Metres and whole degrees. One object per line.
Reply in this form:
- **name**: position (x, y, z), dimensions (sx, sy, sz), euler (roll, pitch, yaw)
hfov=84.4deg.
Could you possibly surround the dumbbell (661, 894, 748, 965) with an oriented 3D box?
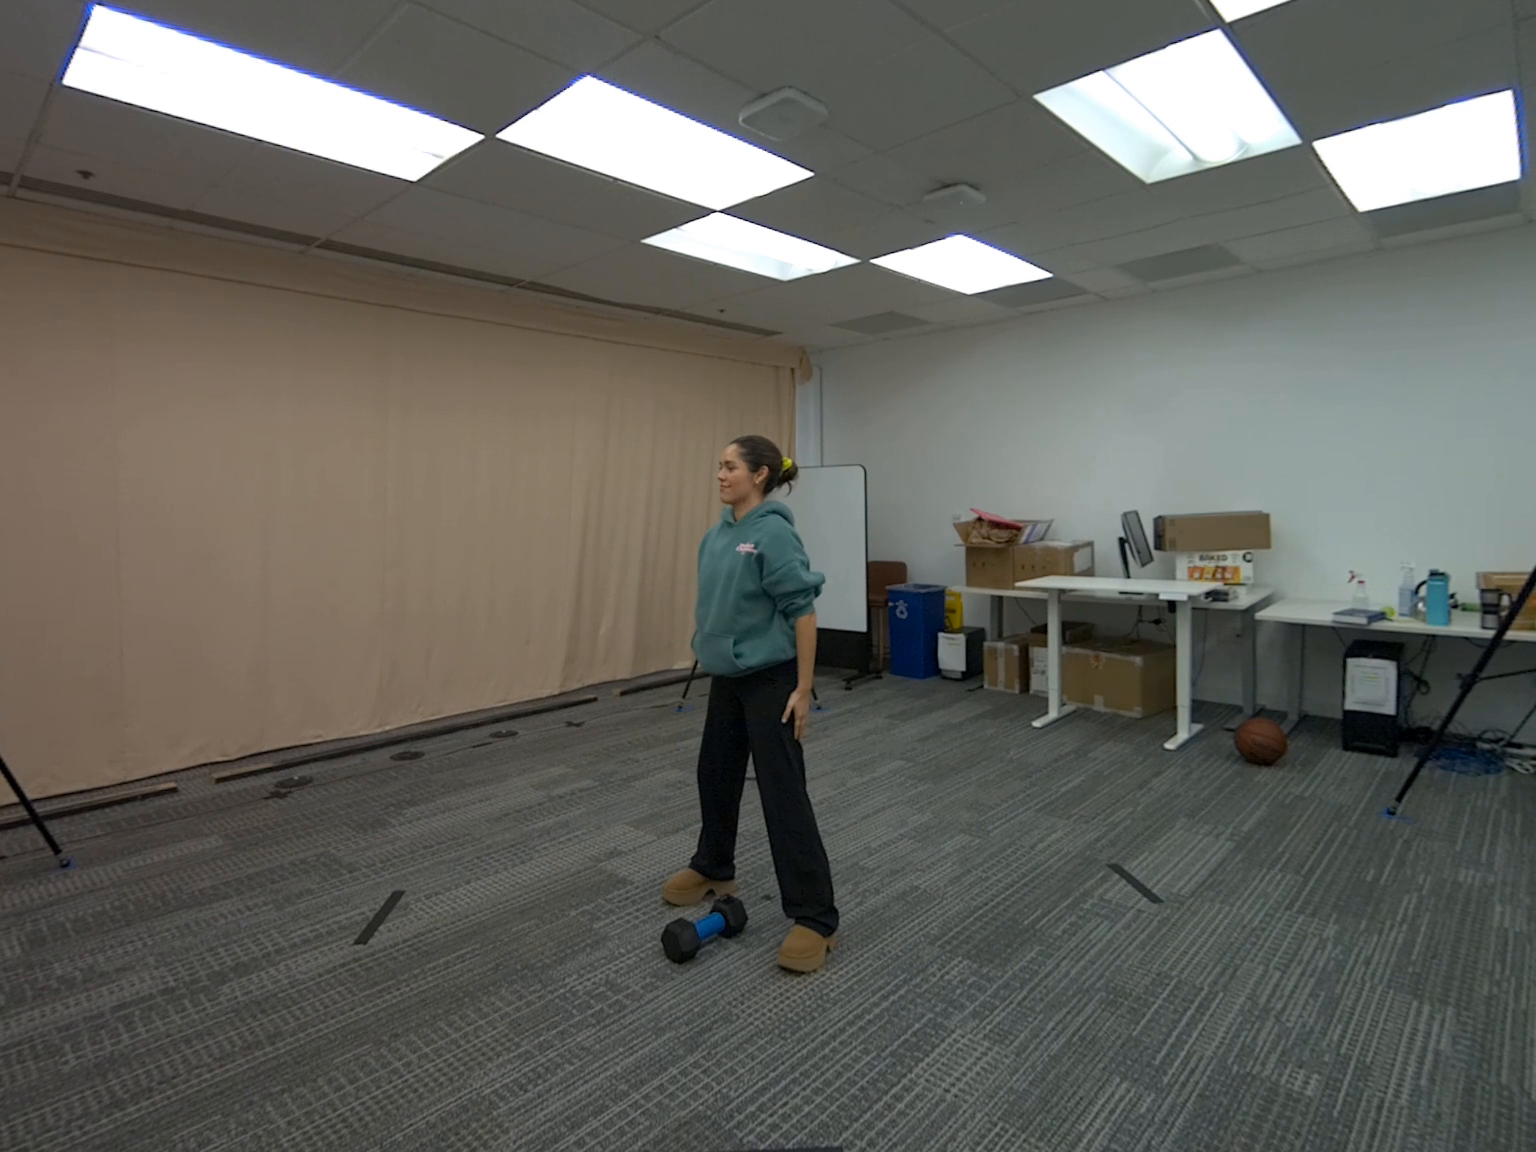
- **dumbbell**: position (-0.197, 1.114, 2.667), dimensions (0.127, 0.108, 0.285), euler (5, 8, 43)
